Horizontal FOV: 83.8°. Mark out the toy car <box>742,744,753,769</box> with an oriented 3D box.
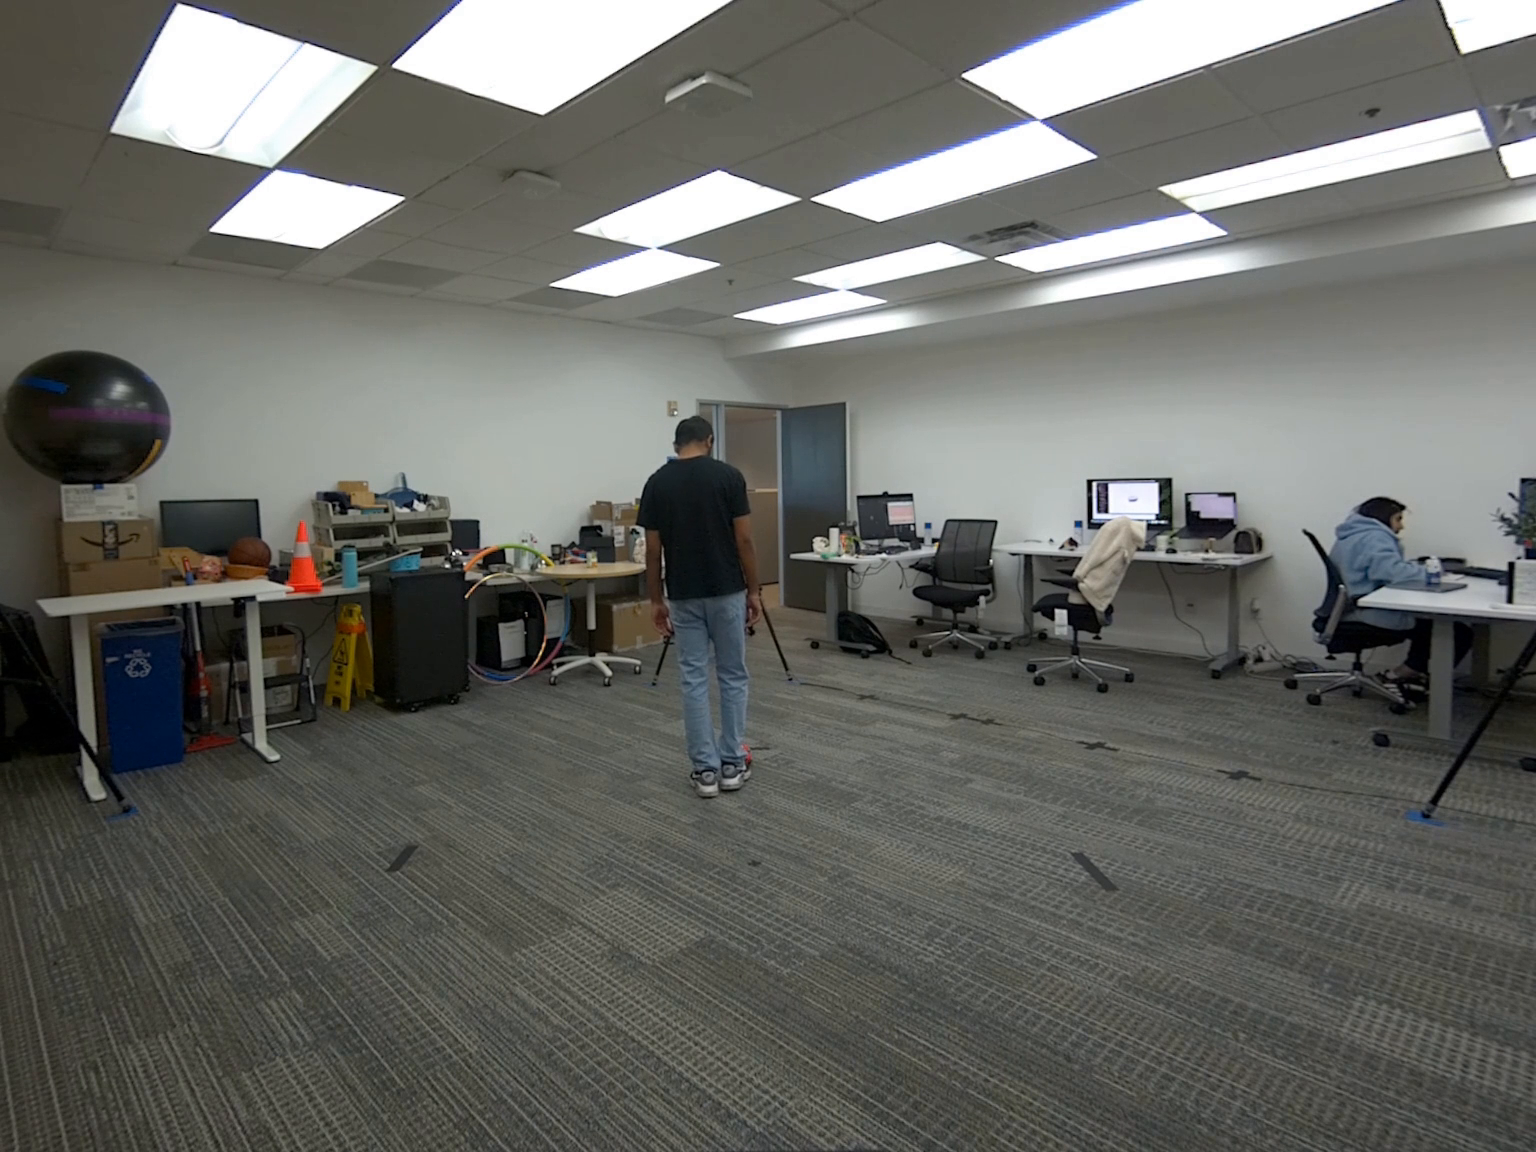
[{"bbox_3d":[-0.141,0.889,4.251,0.130,0.084,0.253,-1,-5,-2],"label":"toy car"}]
